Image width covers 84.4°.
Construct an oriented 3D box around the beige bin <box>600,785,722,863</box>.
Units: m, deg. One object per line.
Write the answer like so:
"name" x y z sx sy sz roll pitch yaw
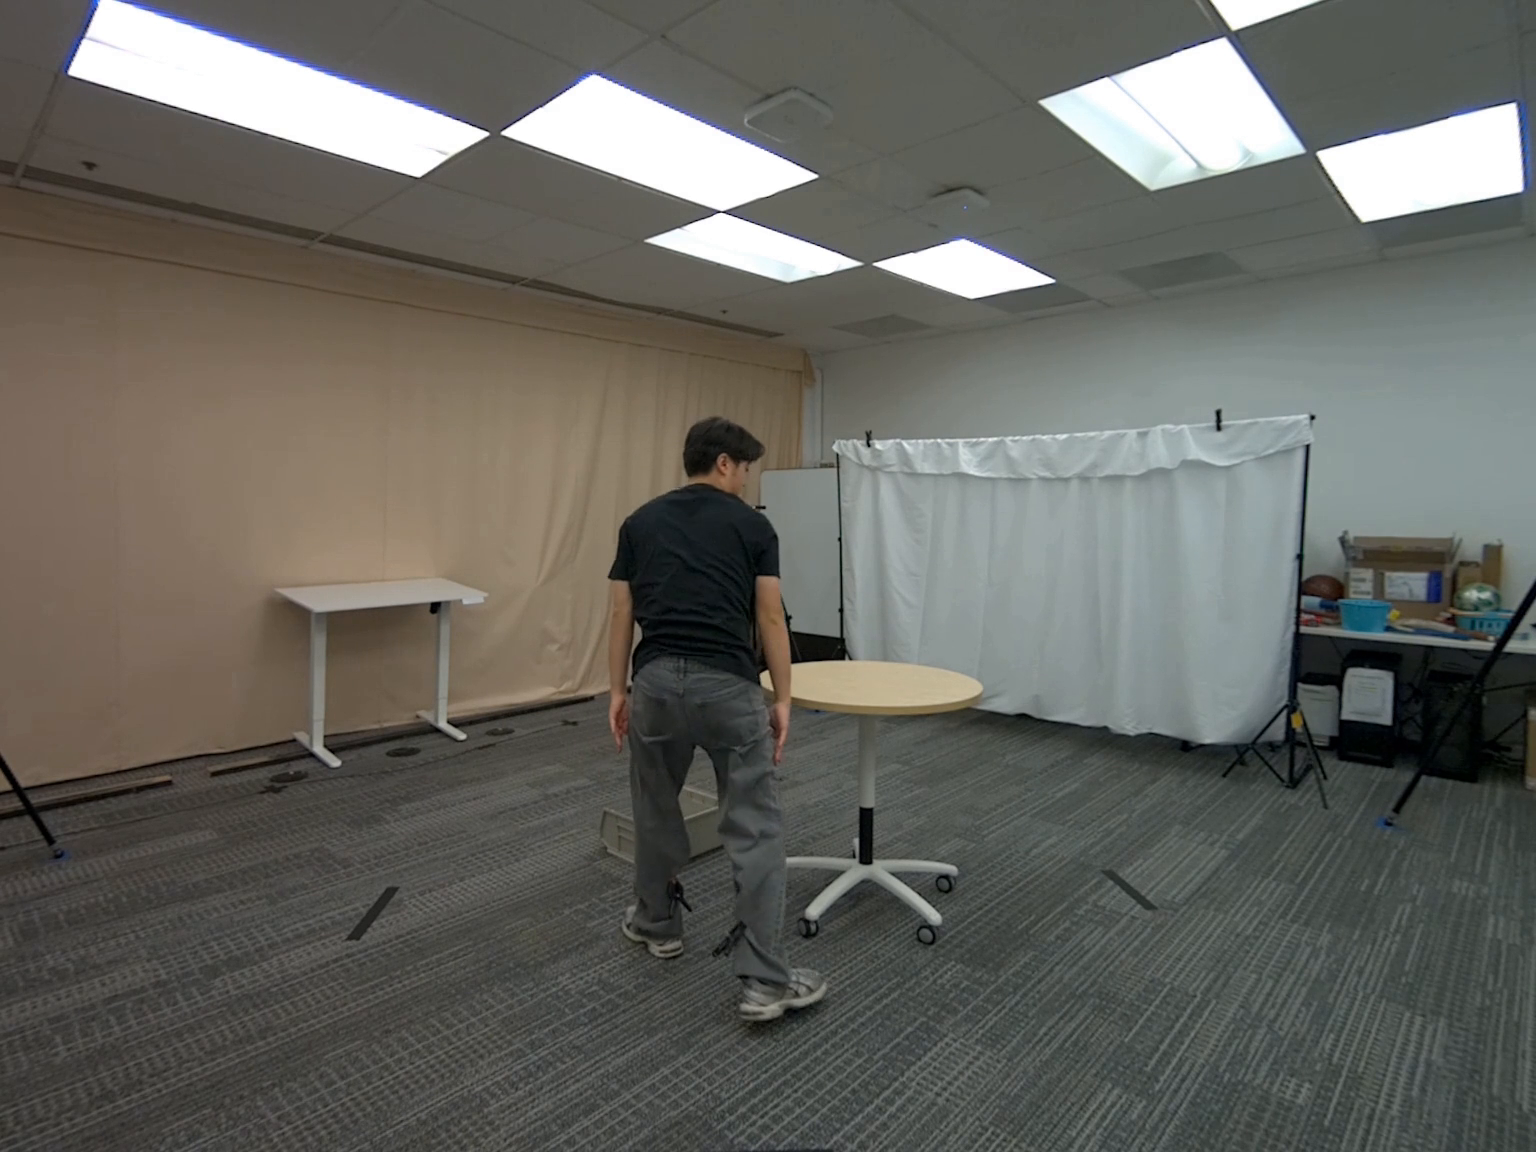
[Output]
"beige bin" -0.412 1.019 3.446 0.390 0.188 0.409 5 7 44
